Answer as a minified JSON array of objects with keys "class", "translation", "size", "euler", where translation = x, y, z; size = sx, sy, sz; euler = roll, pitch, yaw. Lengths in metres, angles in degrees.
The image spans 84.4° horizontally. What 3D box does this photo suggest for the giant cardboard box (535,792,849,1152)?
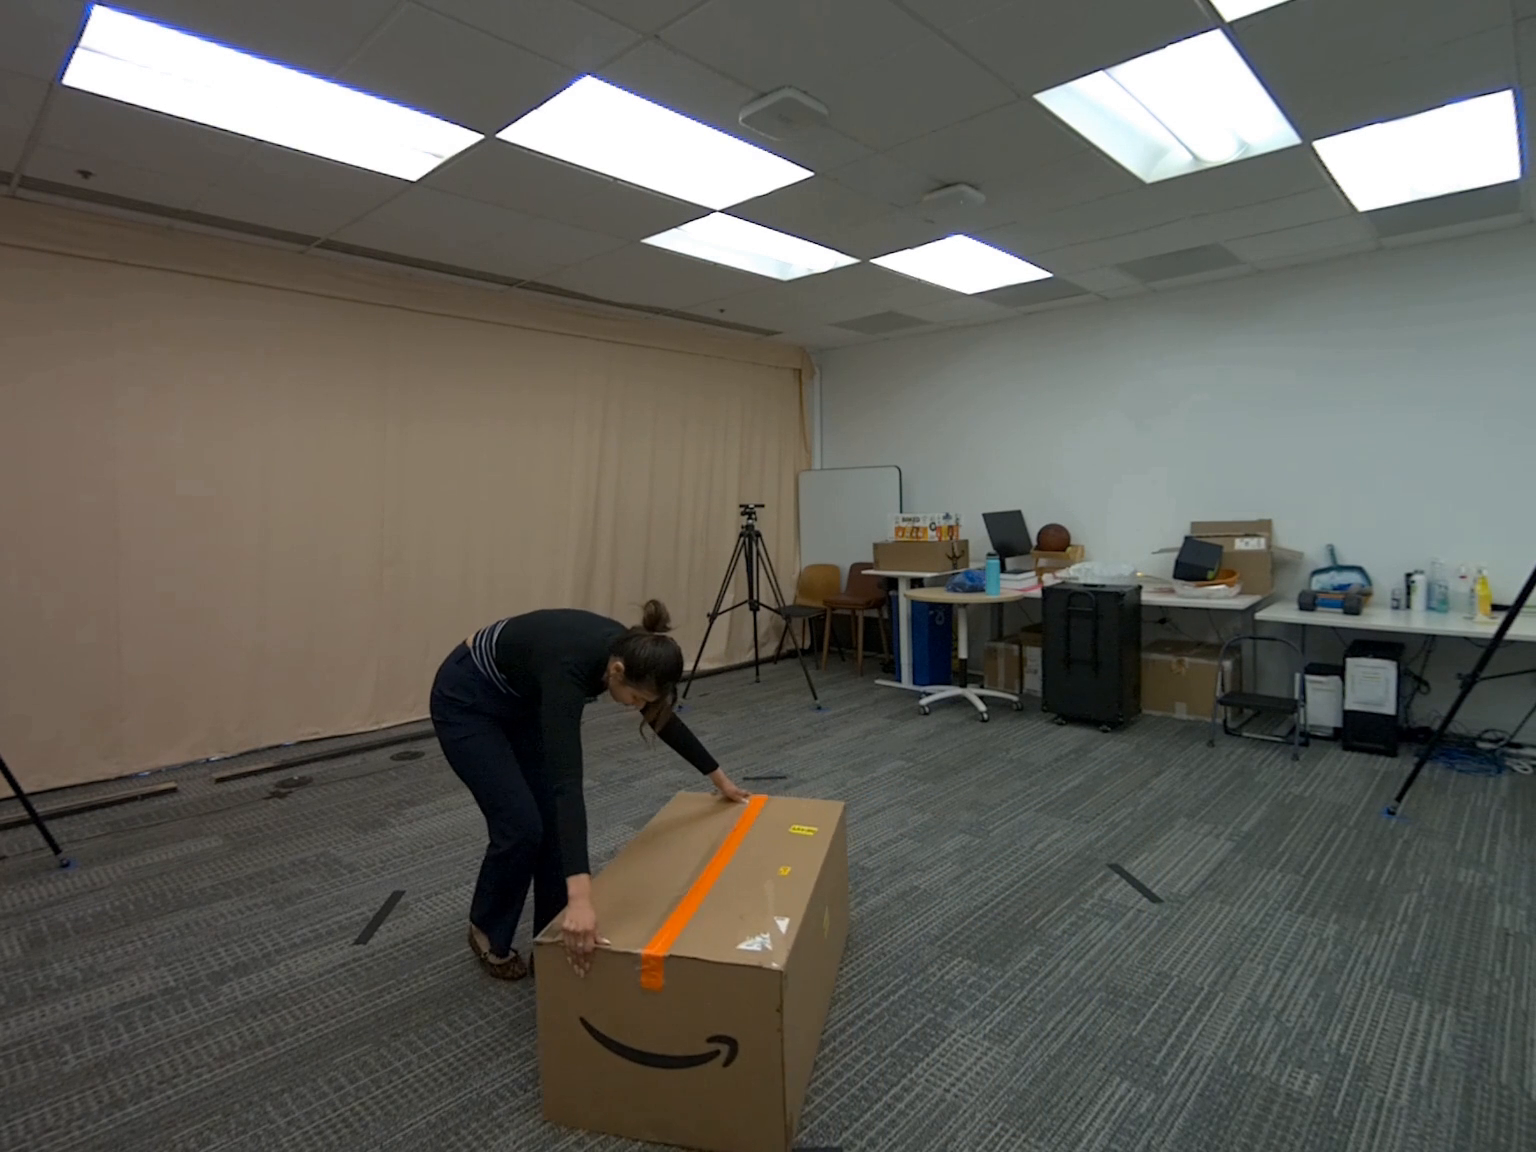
[{"class":"giant cardboard box","translation":[-0.134,0.979,2.316],"size":[0.587,0.425,1.012],"euler":[-1,4,14]}]
